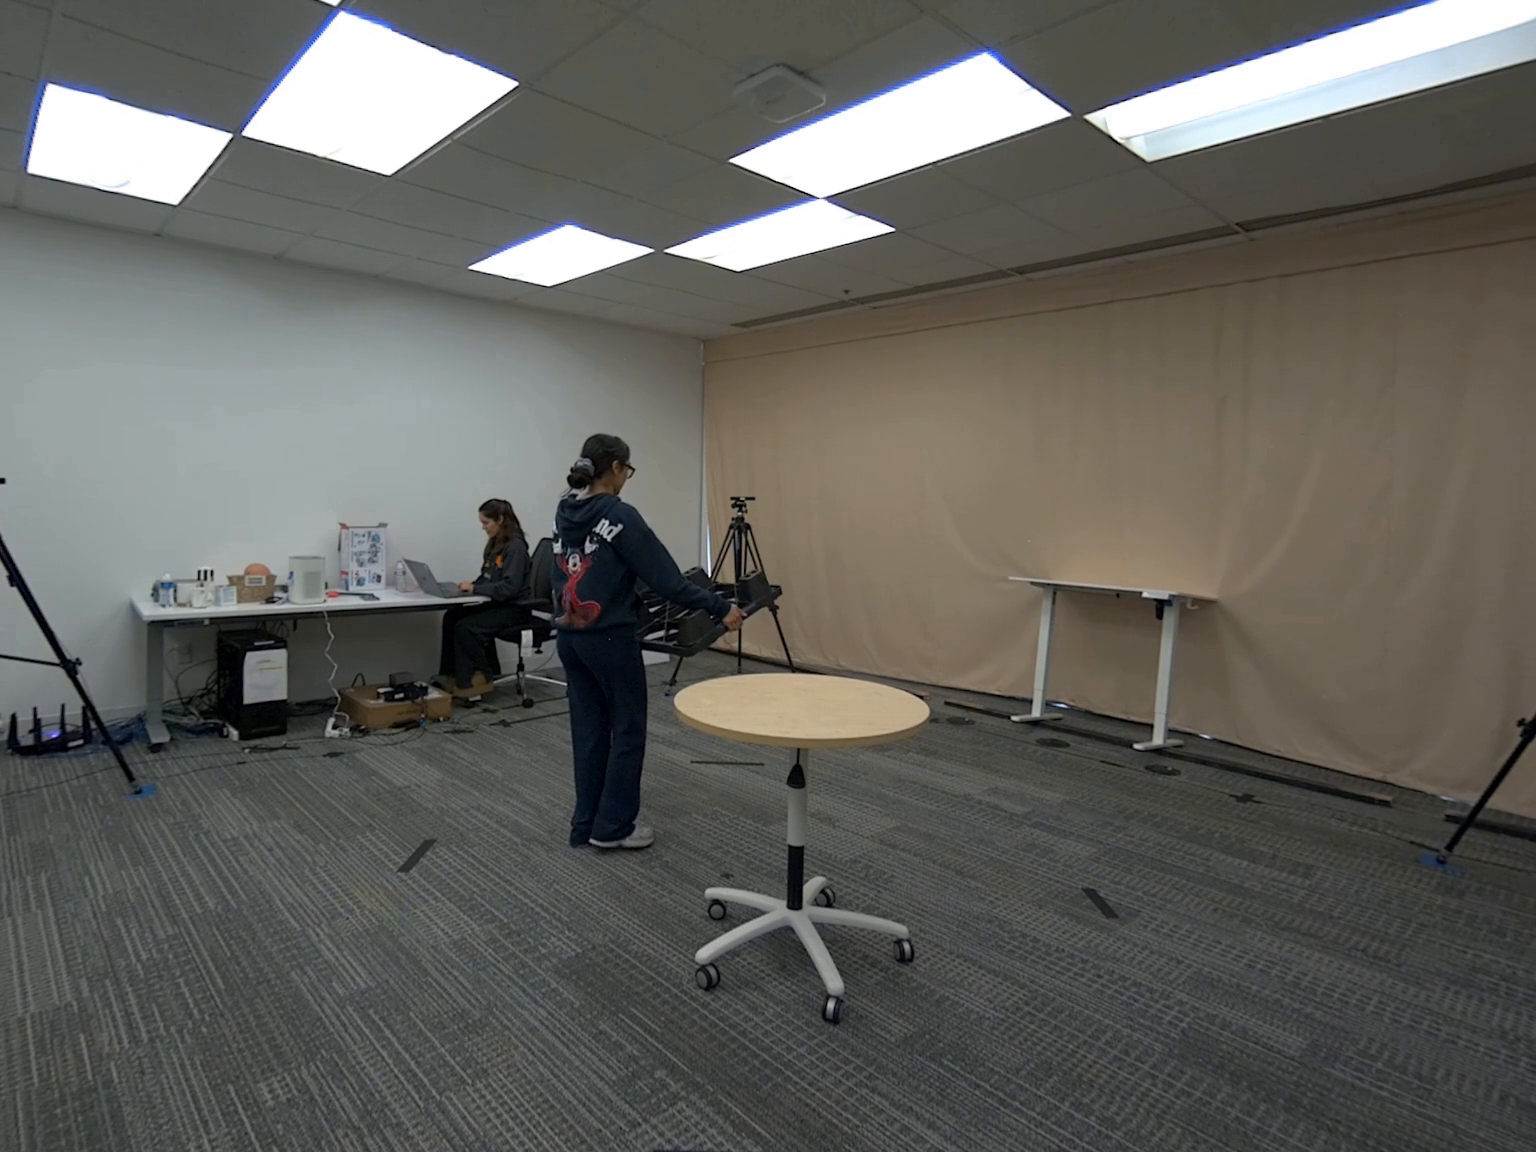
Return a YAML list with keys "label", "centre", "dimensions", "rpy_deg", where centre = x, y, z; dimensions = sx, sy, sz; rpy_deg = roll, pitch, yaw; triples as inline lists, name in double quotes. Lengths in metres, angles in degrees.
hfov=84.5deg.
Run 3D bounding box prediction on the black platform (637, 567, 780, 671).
- label: "black platform"
  centre: [-0.433, 0.114, 3.565]
  dimensions: [0.825, 0.141, 0.600]
  rpy_deg: [3, 26, 39]
